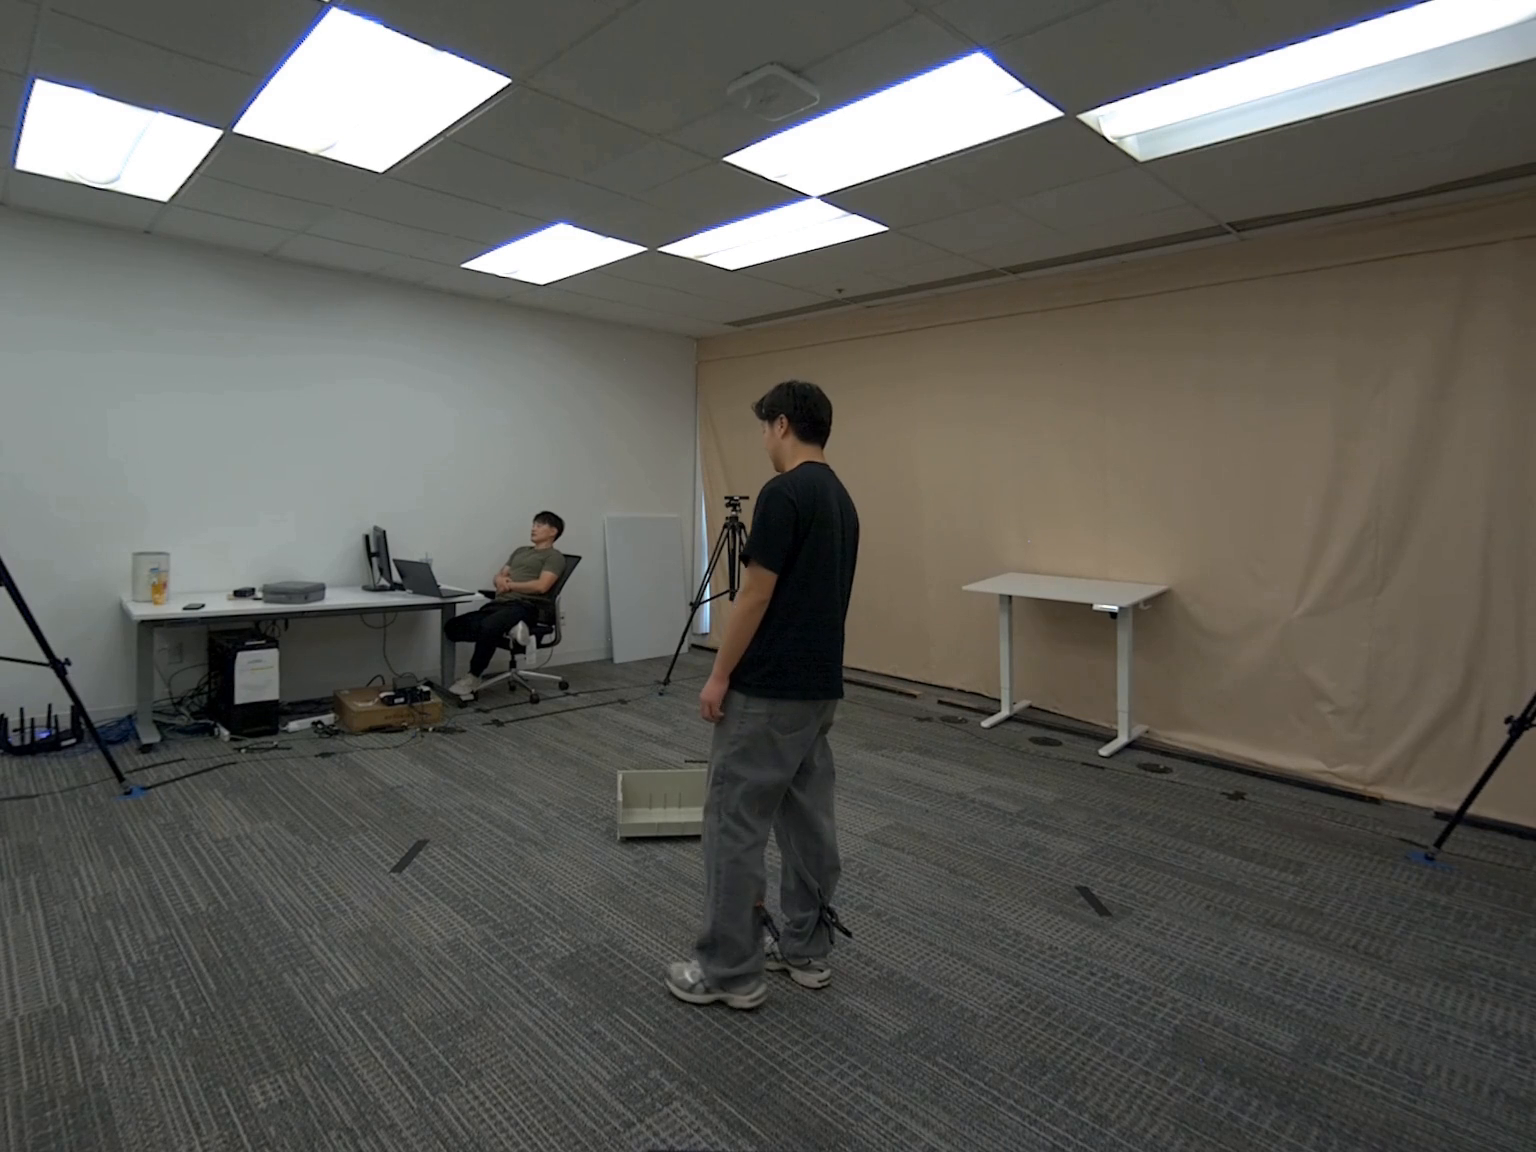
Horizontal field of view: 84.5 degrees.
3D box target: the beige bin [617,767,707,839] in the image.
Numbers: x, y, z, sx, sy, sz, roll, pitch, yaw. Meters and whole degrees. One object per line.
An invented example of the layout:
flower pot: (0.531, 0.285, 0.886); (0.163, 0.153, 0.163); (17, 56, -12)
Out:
beige bin: (-0.433, 0.971, 3.555); (0.419, 0.188, 0.381); (0, 5, -9)
